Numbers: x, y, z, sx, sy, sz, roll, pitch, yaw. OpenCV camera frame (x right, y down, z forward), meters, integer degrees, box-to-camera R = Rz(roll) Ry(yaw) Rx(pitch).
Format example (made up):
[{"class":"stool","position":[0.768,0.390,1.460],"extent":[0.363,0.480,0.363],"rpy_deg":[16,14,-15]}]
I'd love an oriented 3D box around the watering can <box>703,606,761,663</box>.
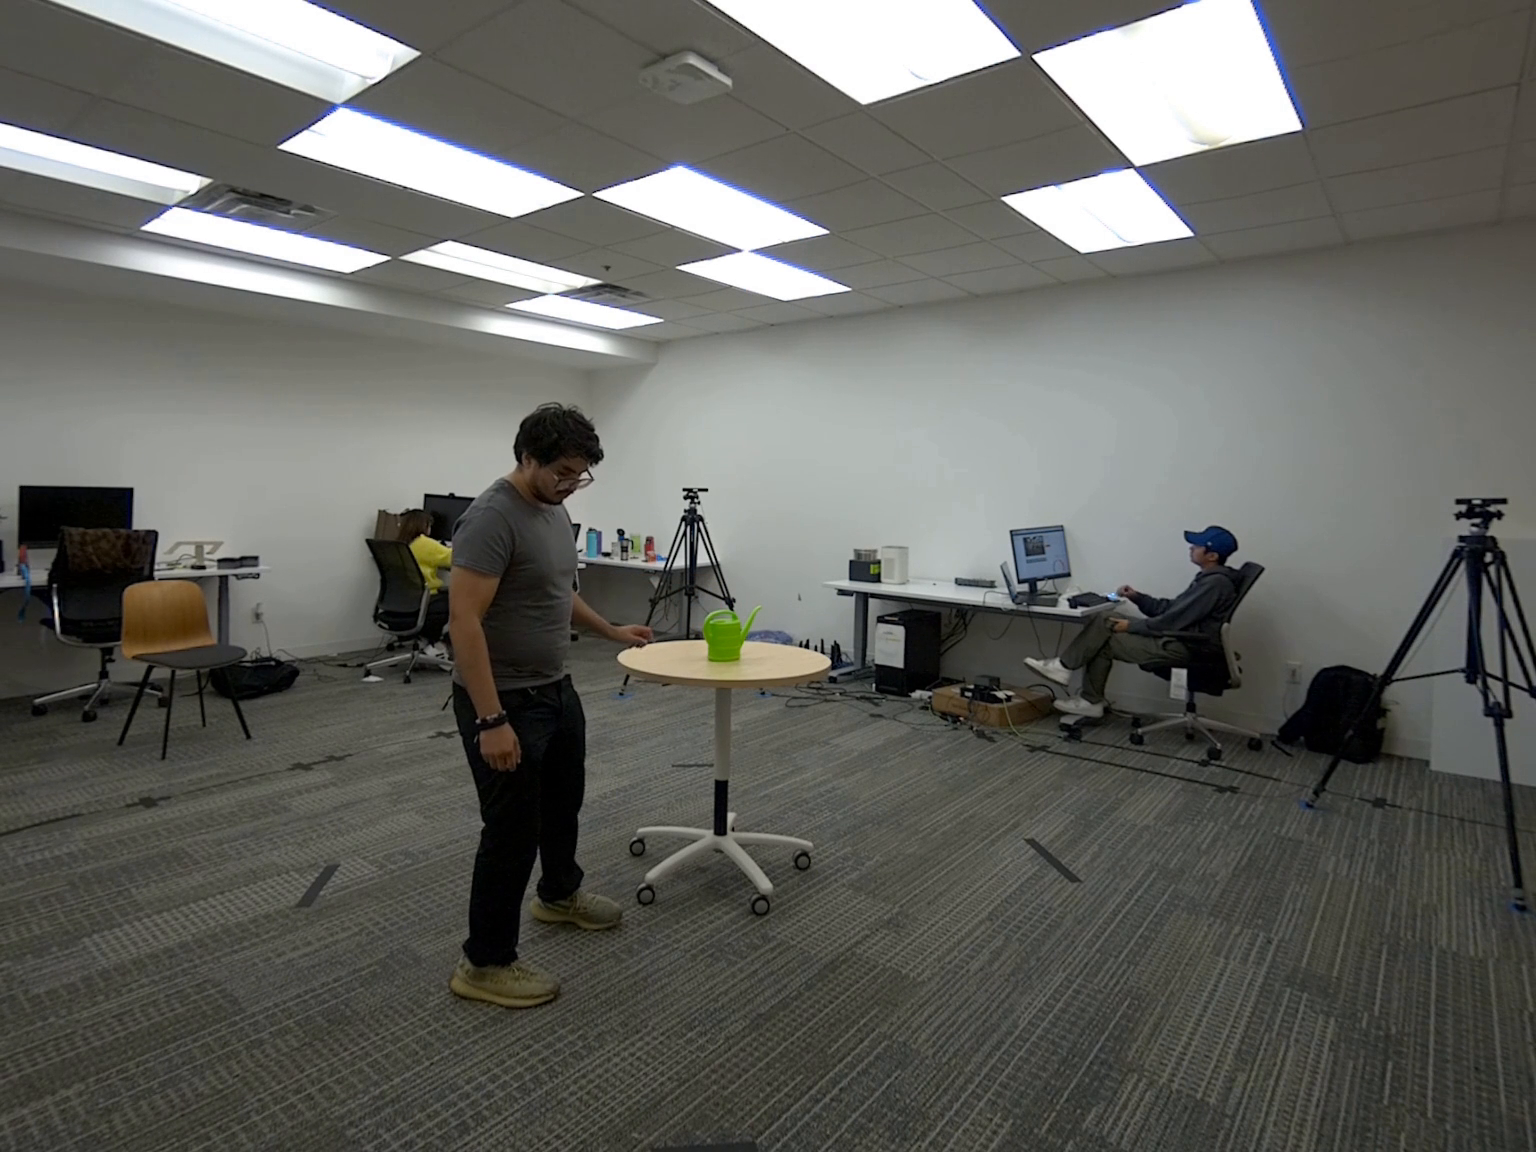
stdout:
[{"class":"watering can","position":[-0.128,0.205,3.051],"extent":[0.271,0.176,0.101],"rpy_deg":[-2,4,-26]}]
